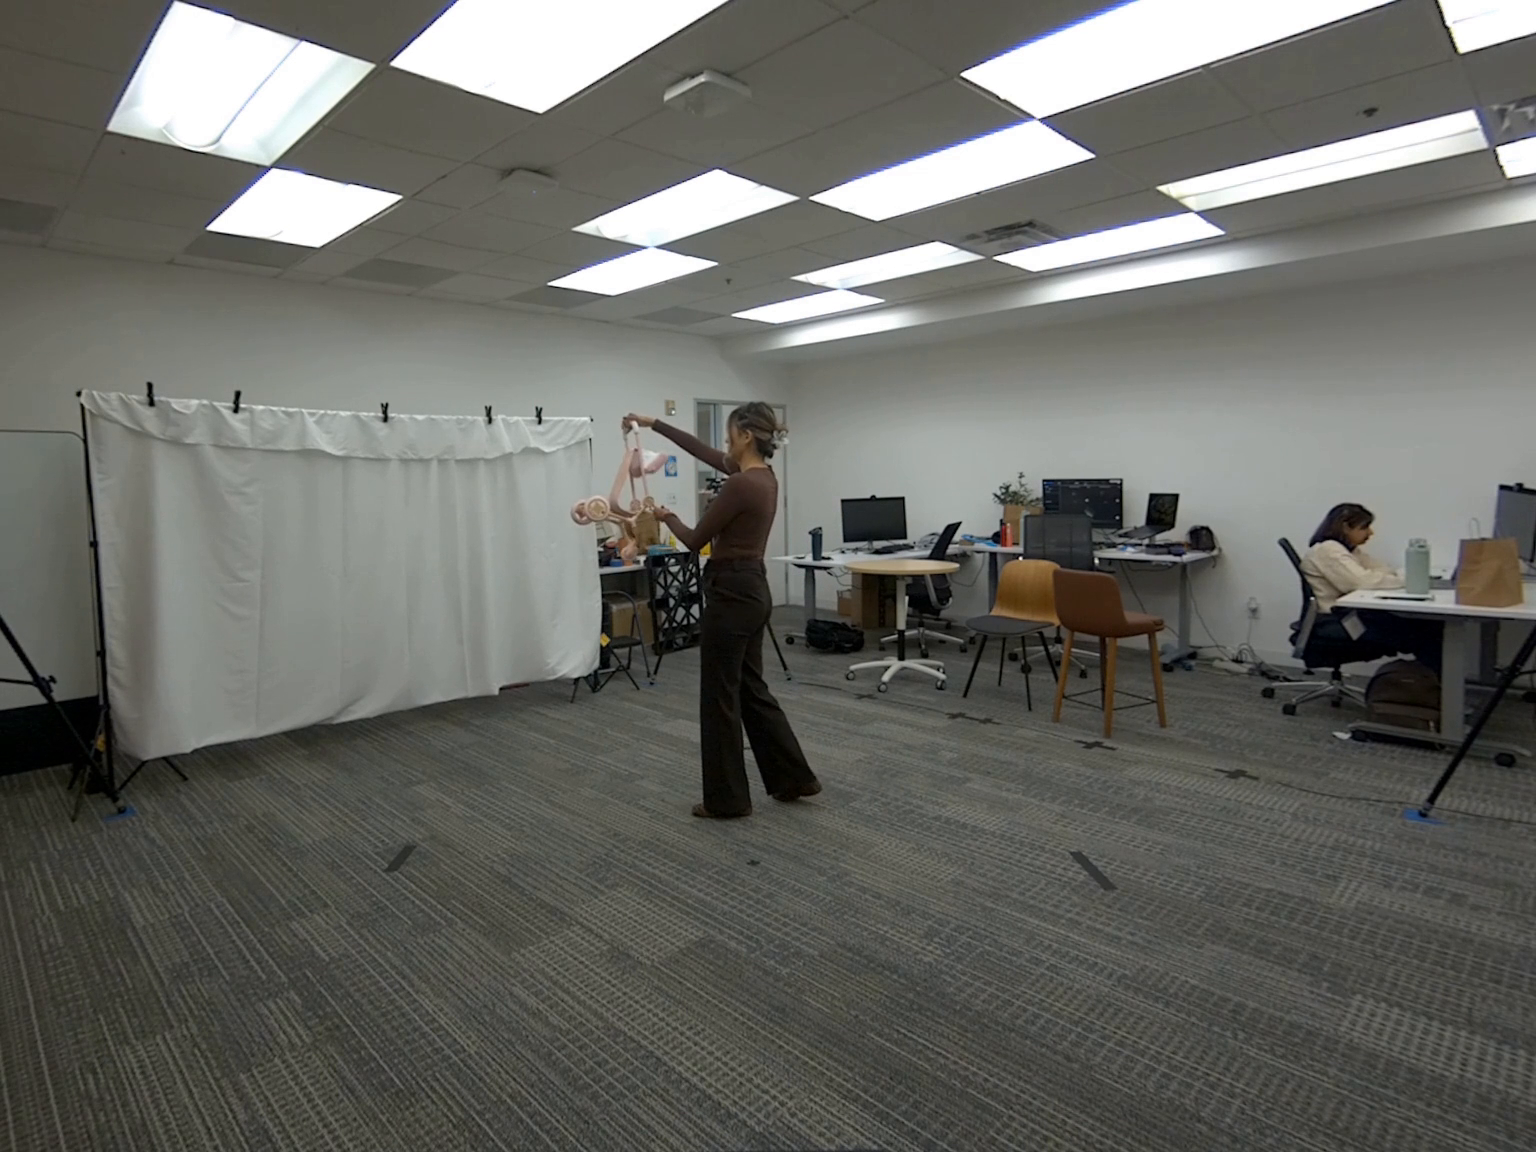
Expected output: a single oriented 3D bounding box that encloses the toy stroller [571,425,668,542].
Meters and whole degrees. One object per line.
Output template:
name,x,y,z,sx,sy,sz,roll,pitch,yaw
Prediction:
toy stroller,-0.603,-0.364,3.735,0.334,0.537,0.286,31,-13,-17
